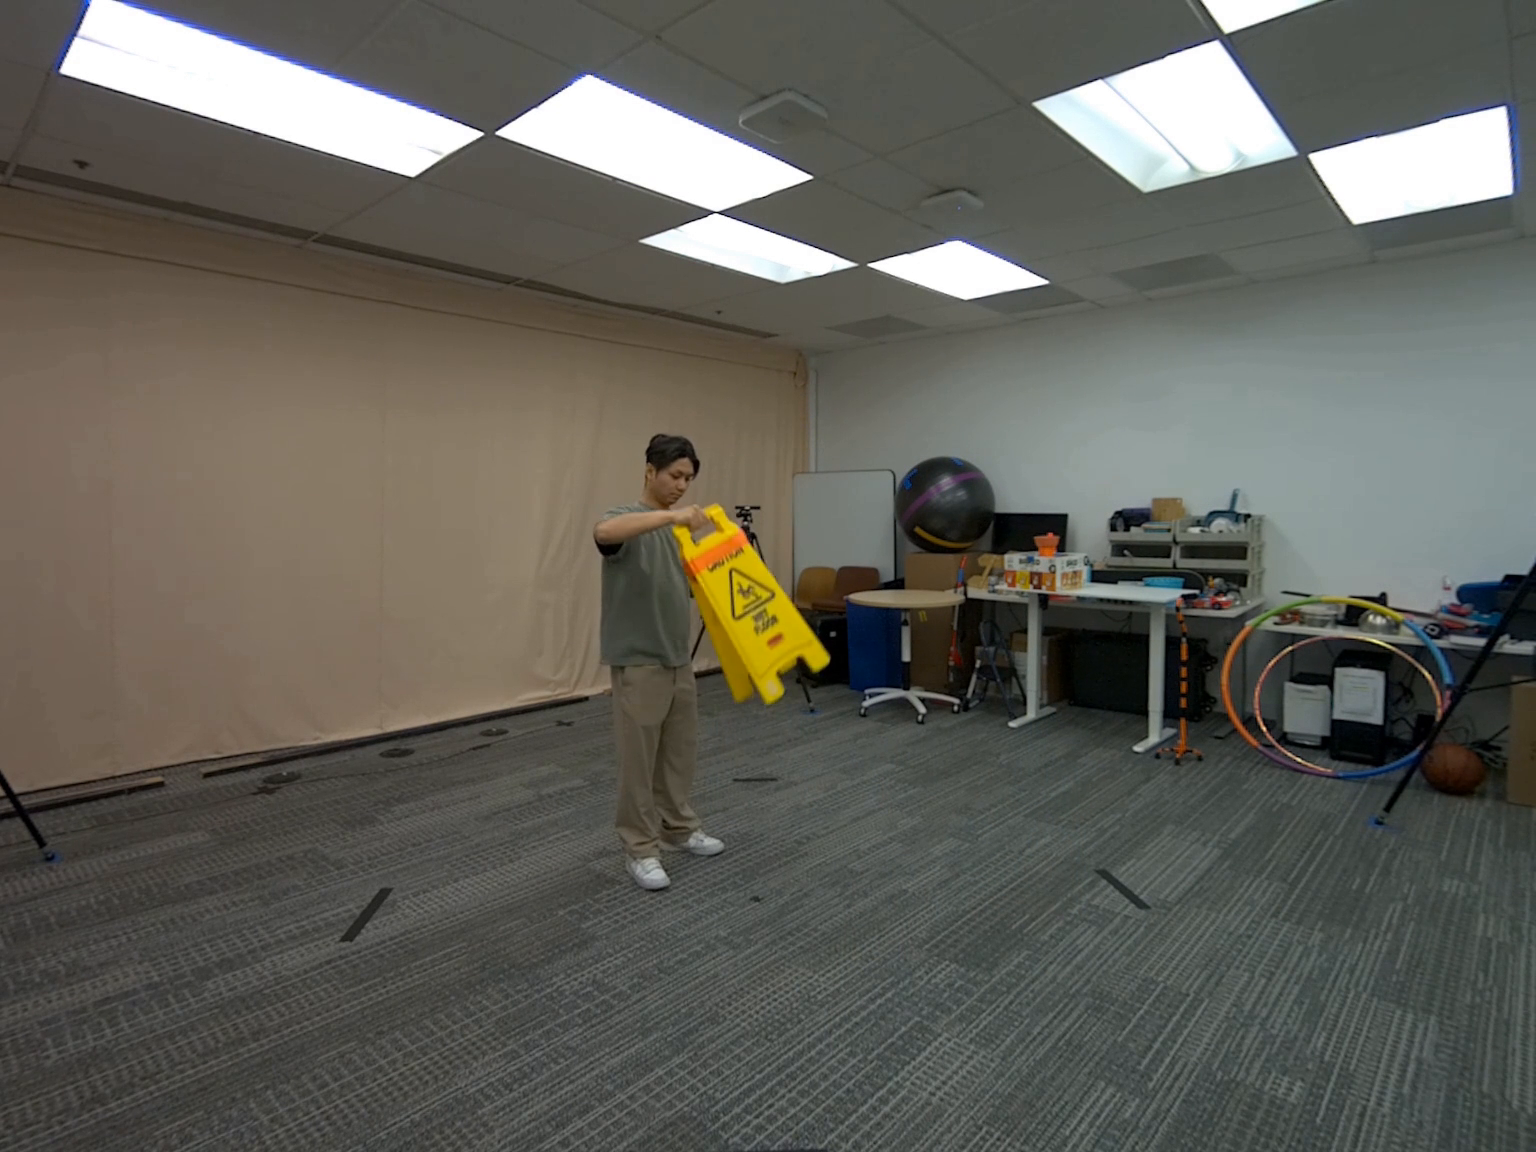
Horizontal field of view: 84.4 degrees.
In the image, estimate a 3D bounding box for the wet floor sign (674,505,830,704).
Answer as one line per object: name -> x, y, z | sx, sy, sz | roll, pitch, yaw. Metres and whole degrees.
wet floor sign -> -0.103, 0.080, 2.871 | 0.278, 0.643, 0.295 | -29, 5, -25
